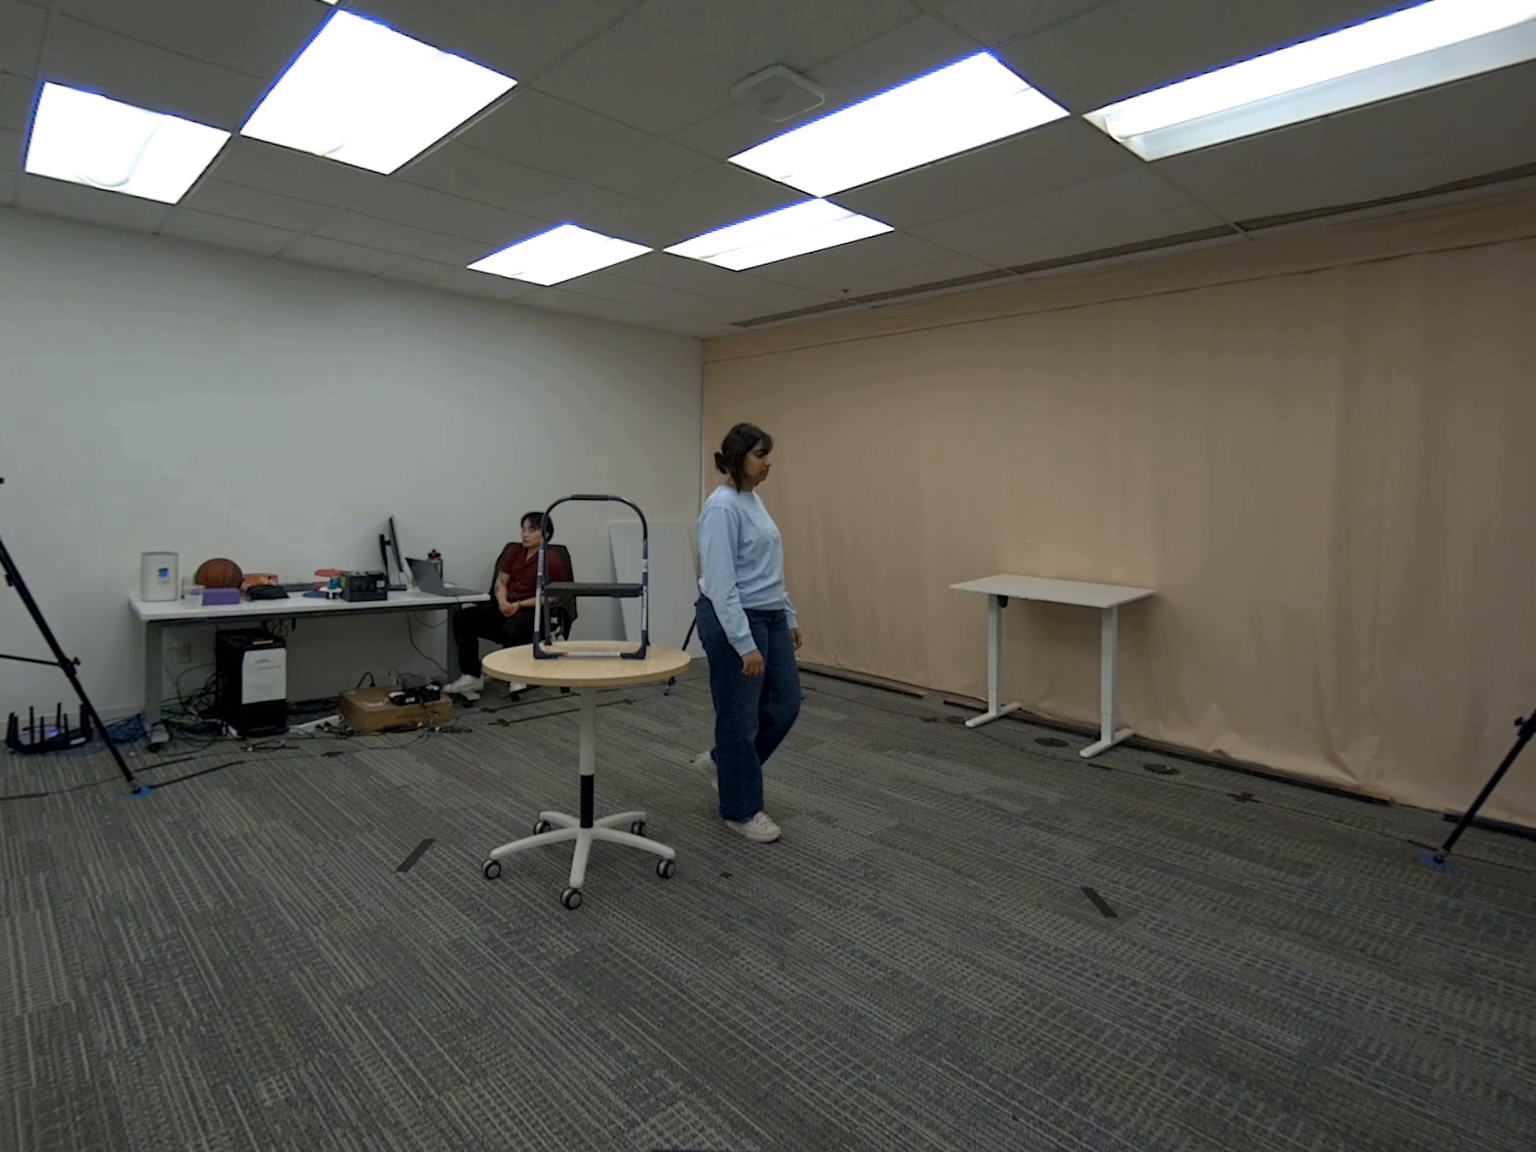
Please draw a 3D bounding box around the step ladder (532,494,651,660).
[{"bbox_3d":[-0.682,-0.009,3.253,0.429,0.605,0.351,1,2,-5],"label":"step ladder"}]
